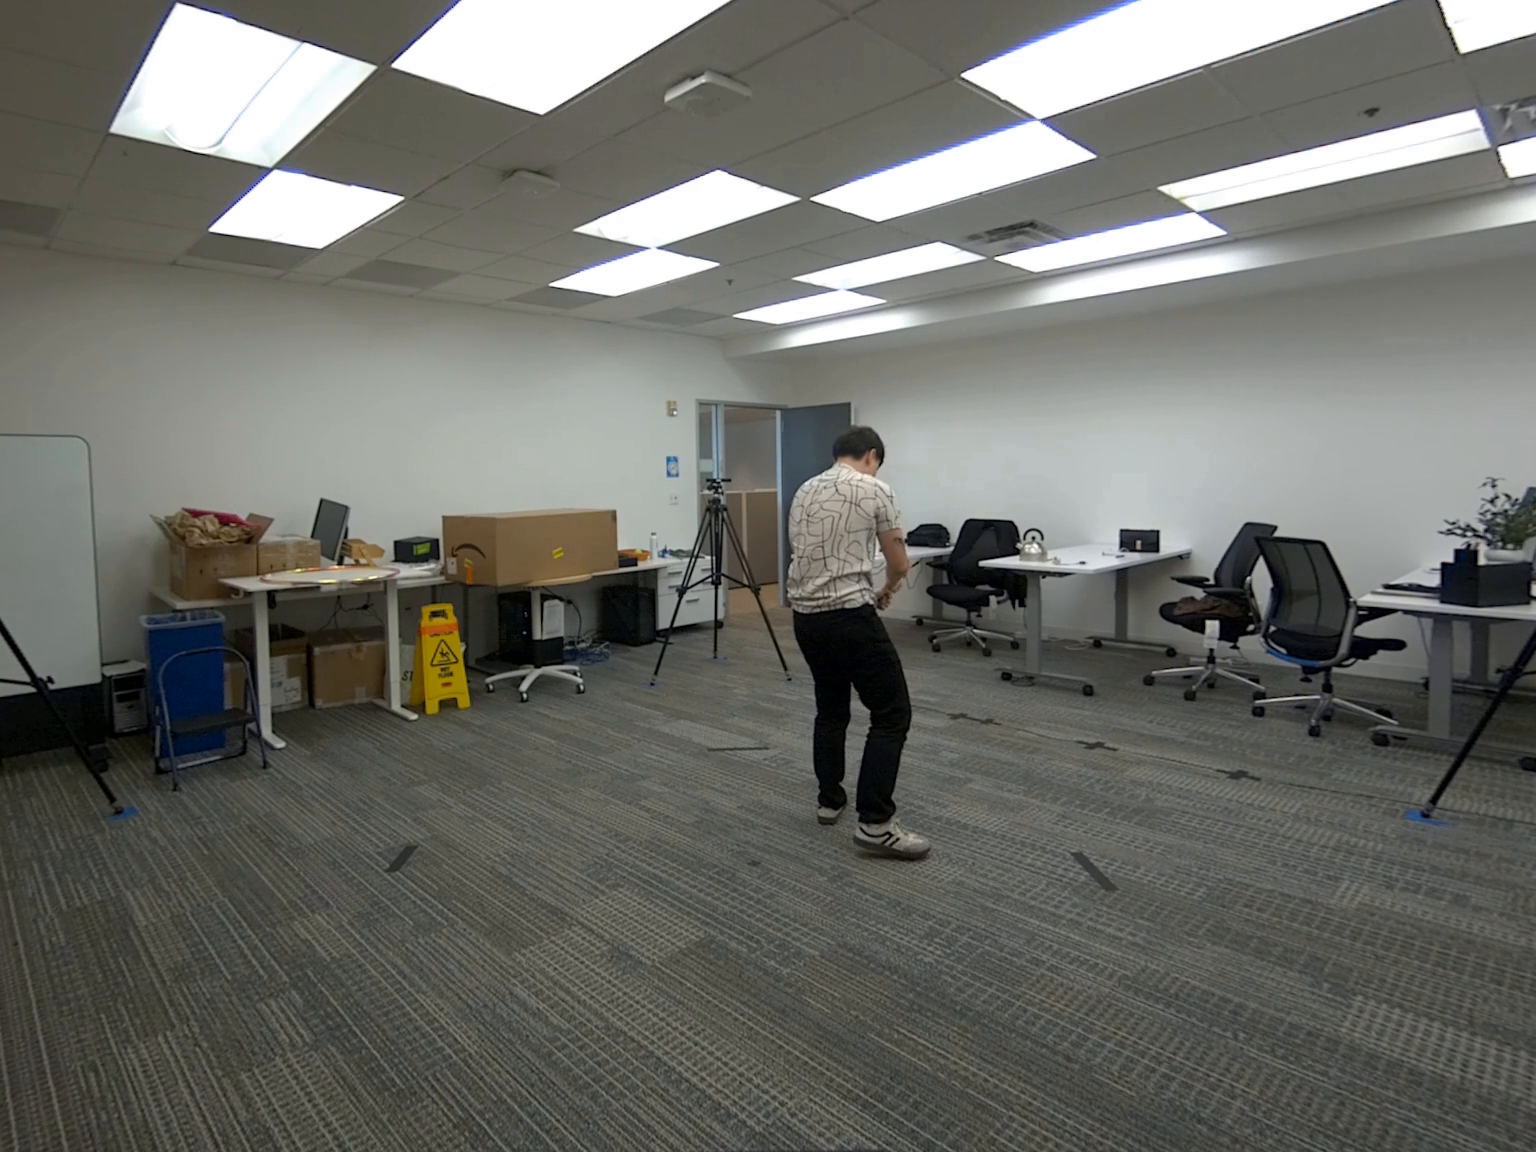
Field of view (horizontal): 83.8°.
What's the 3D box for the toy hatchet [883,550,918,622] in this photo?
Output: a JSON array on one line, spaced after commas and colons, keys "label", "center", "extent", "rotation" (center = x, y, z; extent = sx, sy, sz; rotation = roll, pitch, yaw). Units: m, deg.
[{"label": "toy hatchet", "center": [0.551, 0.039, 3.587], "extent": [0.030, 0.272, 0.126], "rotation": [17, -27, 26]}]
